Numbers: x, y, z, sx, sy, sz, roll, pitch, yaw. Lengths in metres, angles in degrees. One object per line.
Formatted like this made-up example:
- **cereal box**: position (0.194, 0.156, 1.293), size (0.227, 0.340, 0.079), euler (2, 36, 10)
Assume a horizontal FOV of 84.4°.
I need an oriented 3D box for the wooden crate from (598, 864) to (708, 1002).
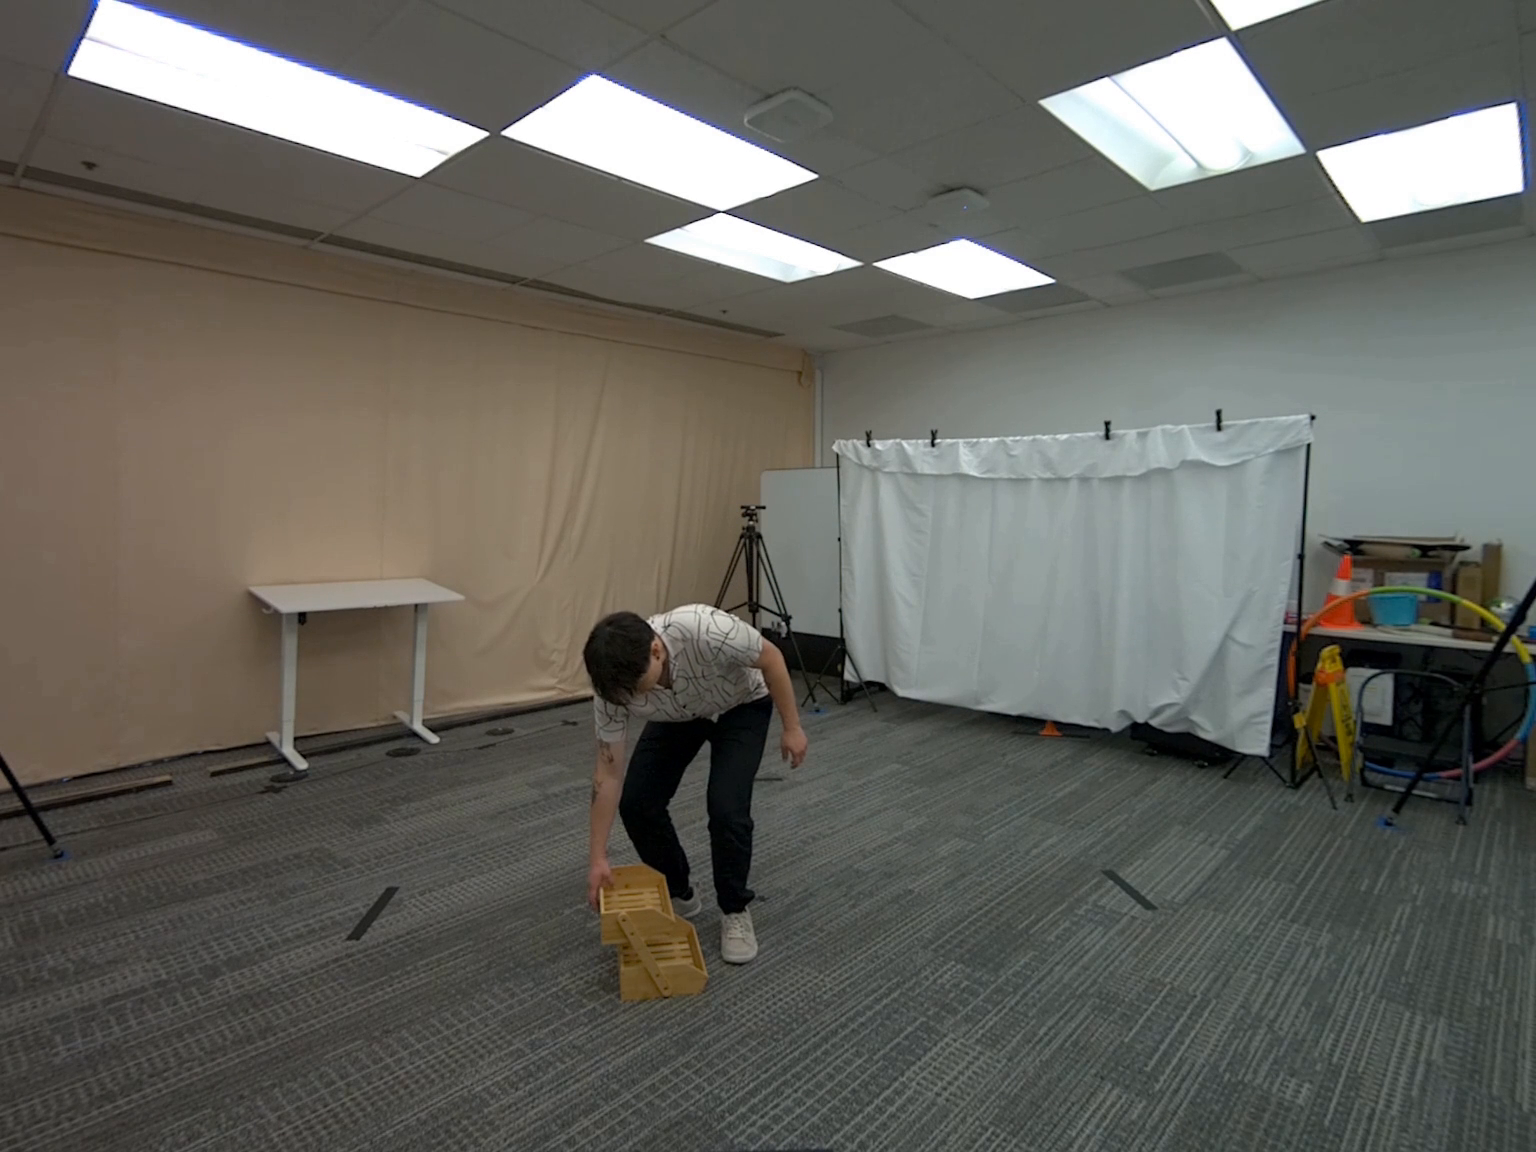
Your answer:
- **wooden crate**: position (-0.343, 1.041, 2.534), size (0.298, 0.273, 0.329), euler (-1, 3, -12)
